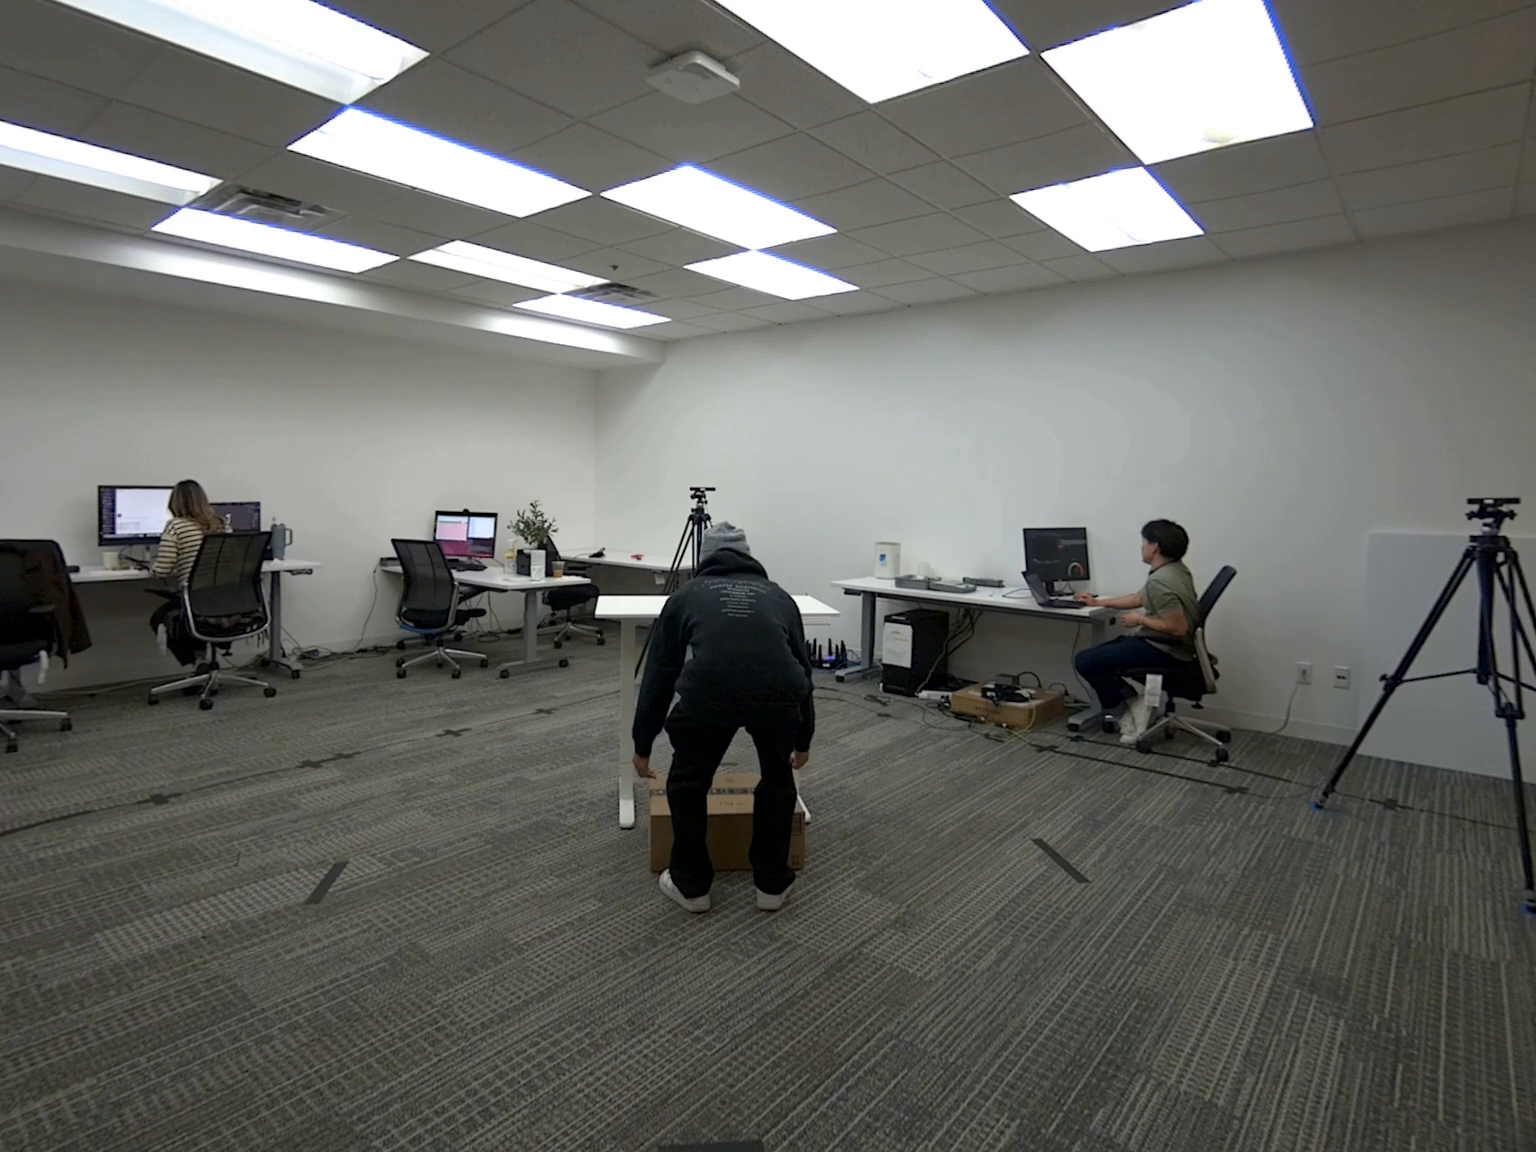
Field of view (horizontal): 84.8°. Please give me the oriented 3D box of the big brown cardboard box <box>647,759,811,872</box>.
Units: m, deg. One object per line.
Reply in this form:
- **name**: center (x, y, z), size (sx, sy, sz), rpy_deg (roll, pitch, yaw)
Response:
- **big brown cardboard box**: center (-0.184, 0.935, 3.283), size (0.585, 0.232, 0.422), rpy_deg (1, 5, -6)
